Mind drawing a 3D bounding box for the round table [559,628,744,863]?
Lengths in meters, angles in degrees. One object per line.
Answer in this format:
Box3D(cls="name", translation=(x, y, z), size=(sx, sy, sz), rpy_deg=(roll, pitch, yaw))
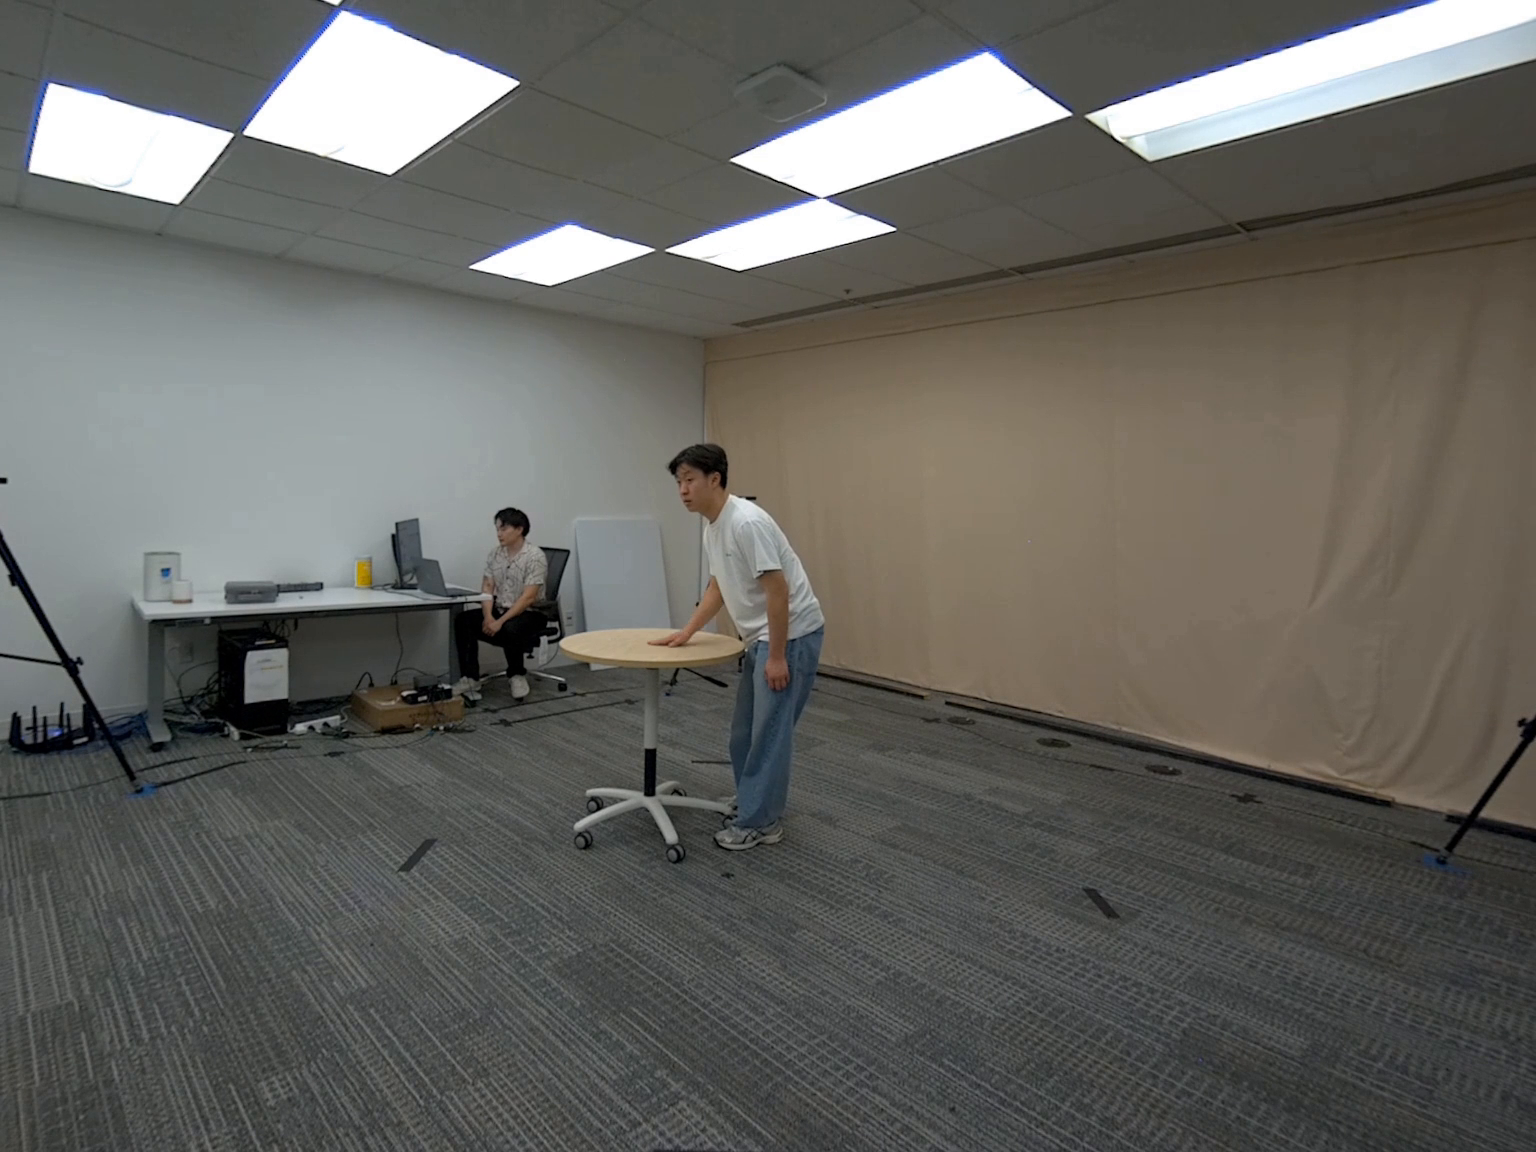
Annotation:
Box3D(cls="round table", translation=(-0.495, 0.670, 3.507), size=(0.763, 0.792, 0.766), rpy_deg=(1, 4, -1))
